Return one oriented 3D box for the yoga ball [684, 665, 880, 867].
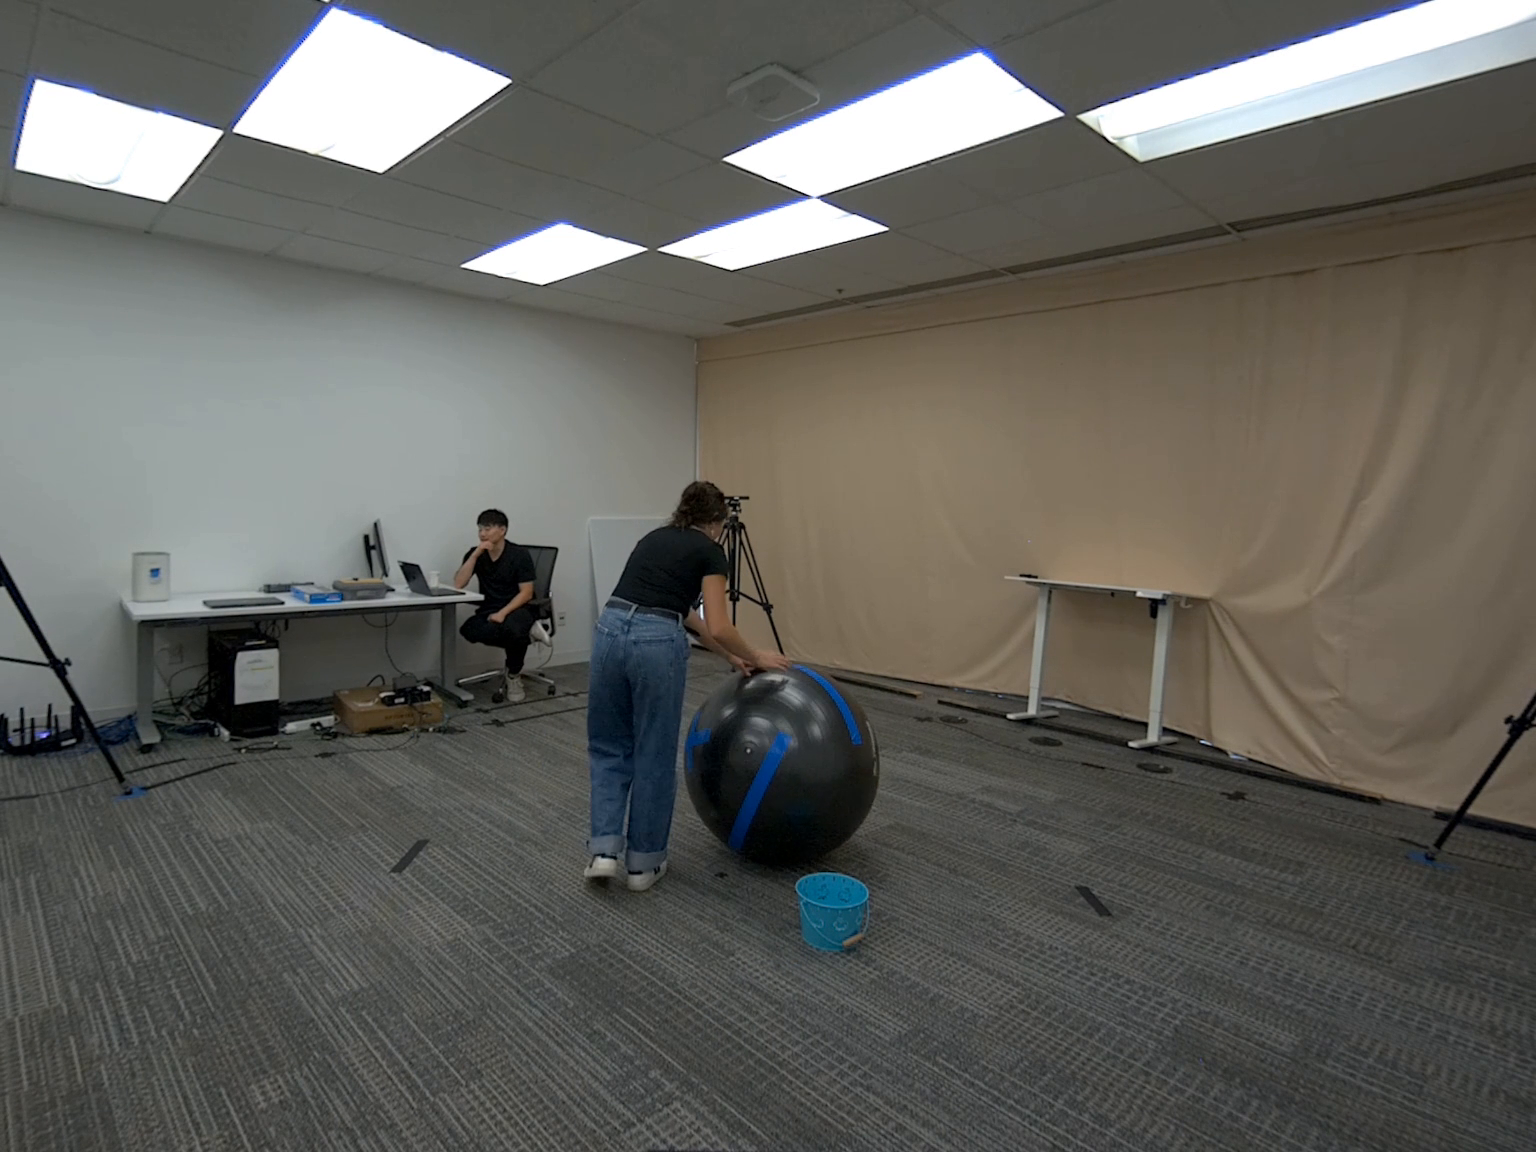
[{"bbox_3d":[0.045,0.724,3.284,0.757,0.756,0.761,1,4,-1],"label":"yoga ball"}]
